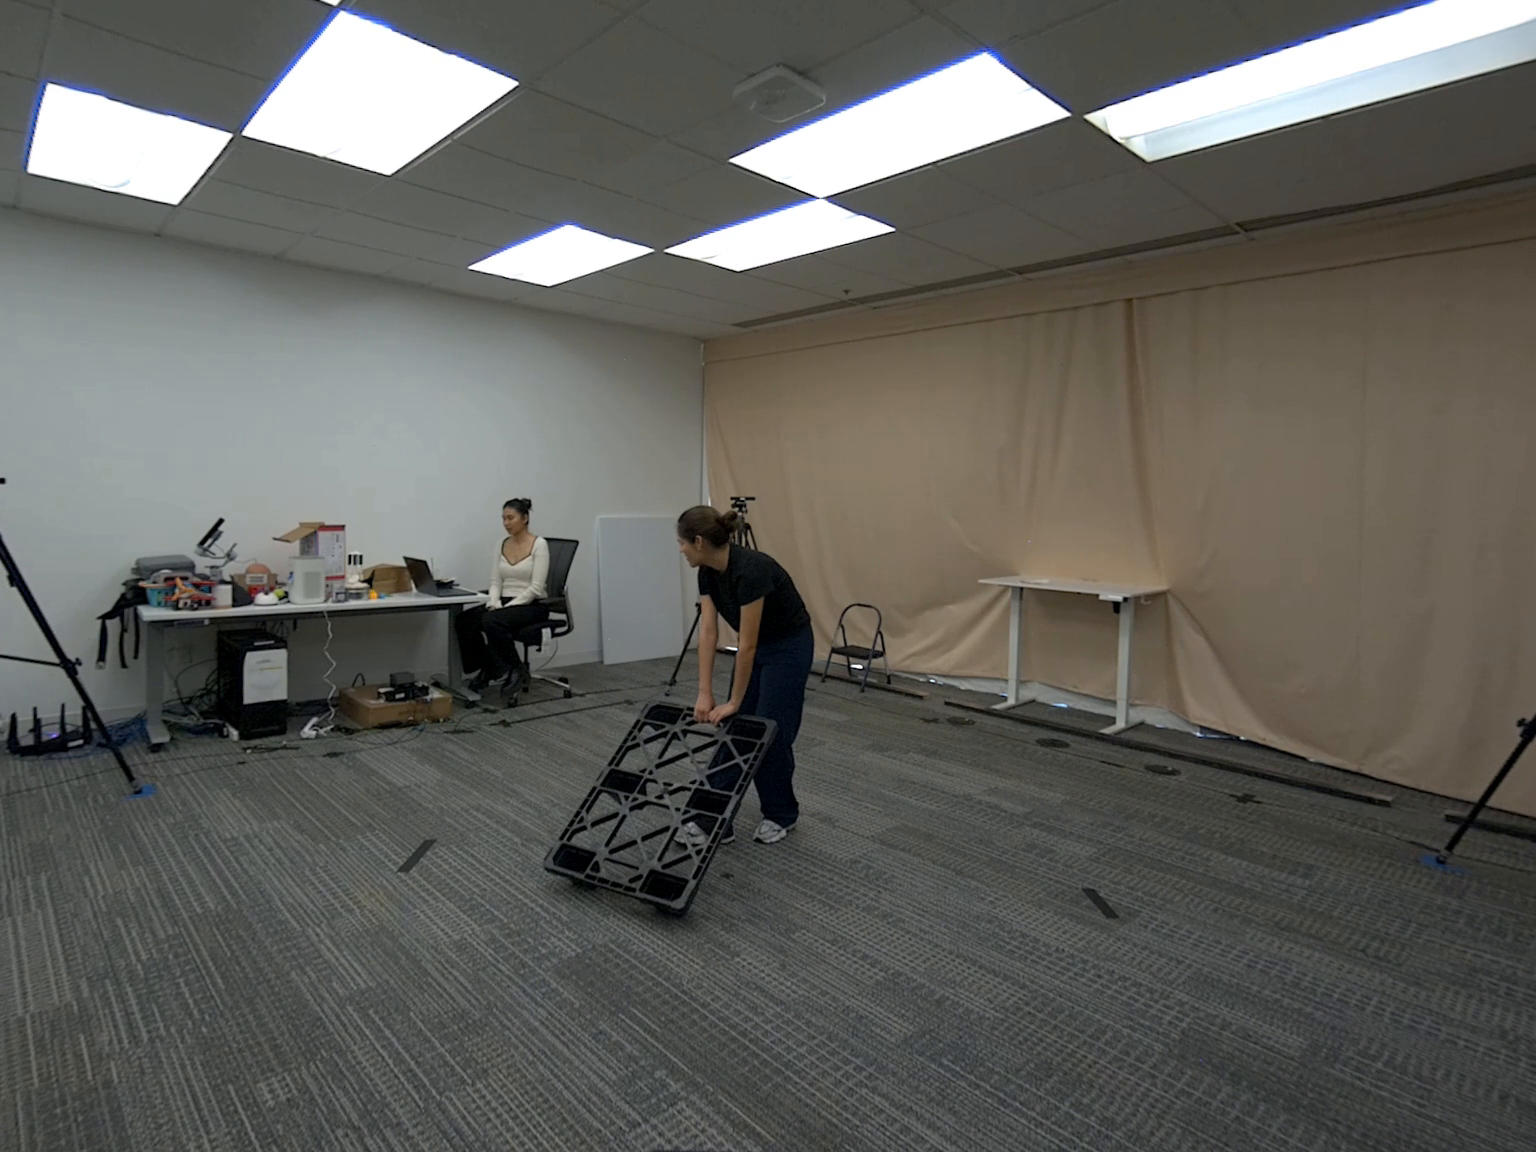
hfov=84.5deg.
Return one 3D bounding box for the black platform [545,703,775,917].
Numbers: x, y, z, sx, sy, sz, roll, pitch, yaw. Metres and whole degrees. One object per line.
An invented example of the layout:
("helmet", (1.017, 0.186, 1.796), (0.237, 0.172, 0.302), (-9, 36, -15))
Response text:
("black platform", (-0.367, 0.835, 3.100), (0.618, 0.139, 0.810), (3, 41, 28))
